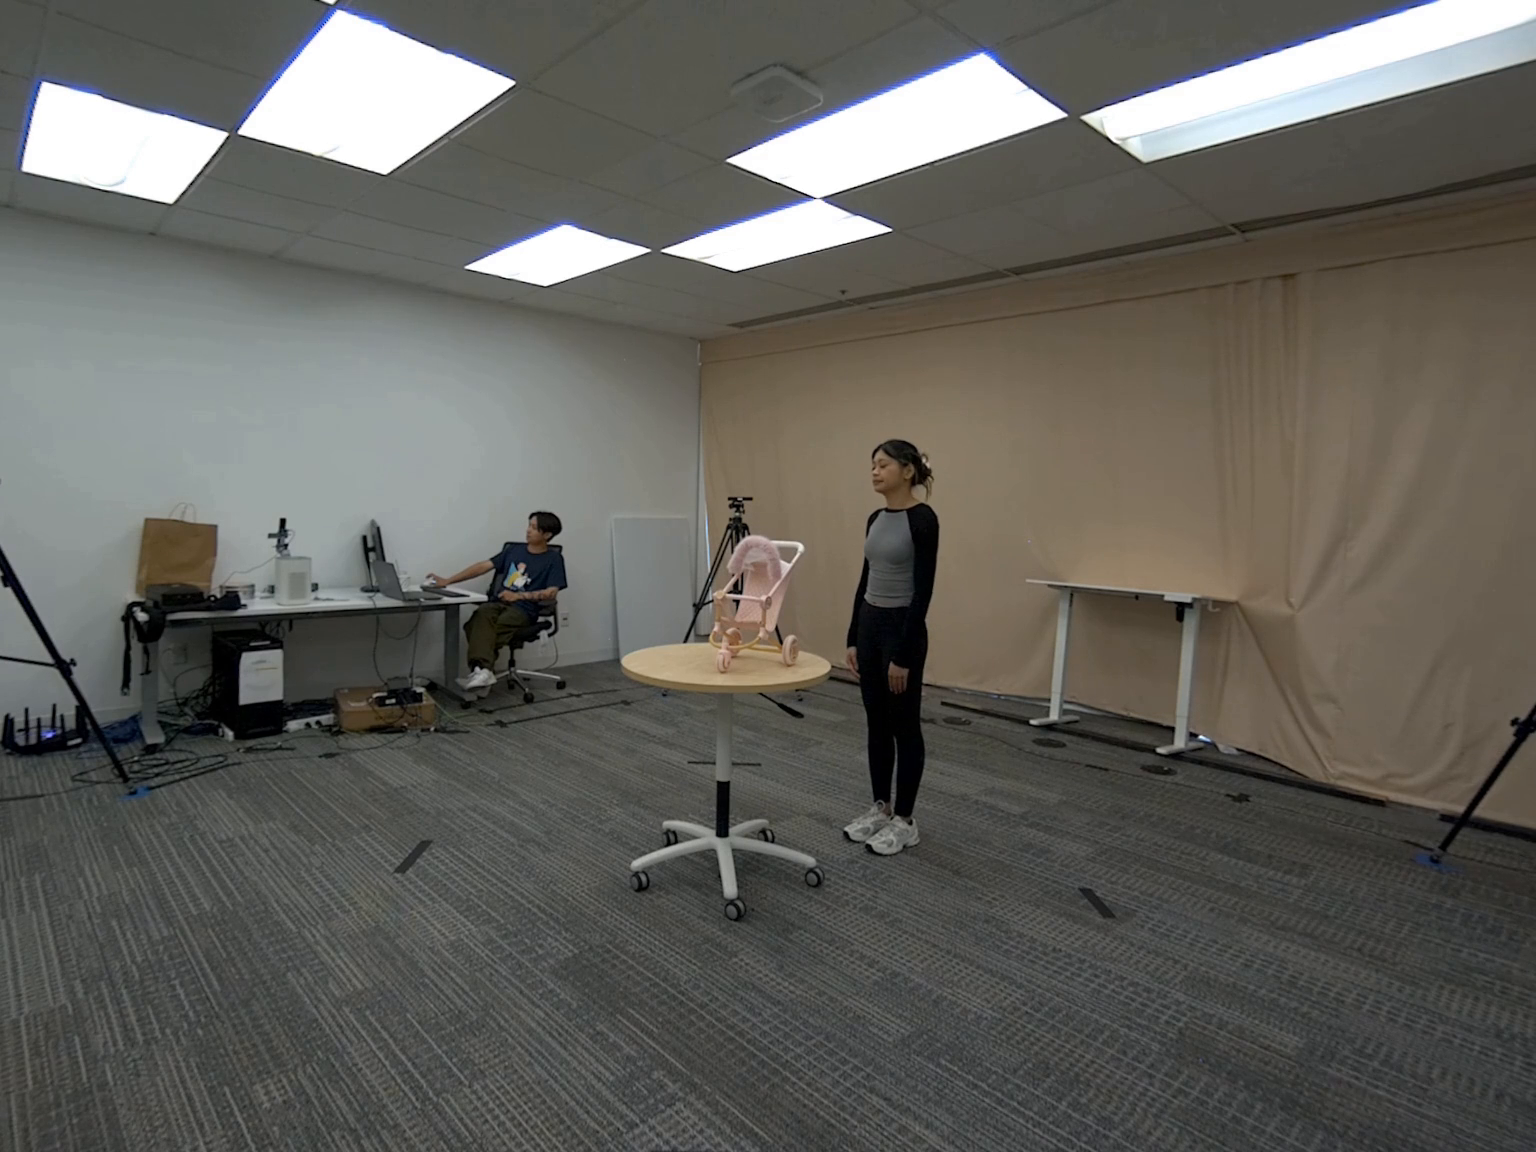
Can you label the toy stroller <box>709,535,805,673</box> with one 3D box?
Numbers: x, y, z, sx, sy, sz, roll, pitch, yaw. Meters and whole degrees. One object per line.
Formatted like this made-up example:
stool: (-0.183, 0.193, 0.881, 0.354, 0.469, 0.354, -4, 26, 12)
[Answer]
toy stroller: (-0.062, 0.096, 3.046, 0.288, 0.538, 0.331, 4, -10, 35)
